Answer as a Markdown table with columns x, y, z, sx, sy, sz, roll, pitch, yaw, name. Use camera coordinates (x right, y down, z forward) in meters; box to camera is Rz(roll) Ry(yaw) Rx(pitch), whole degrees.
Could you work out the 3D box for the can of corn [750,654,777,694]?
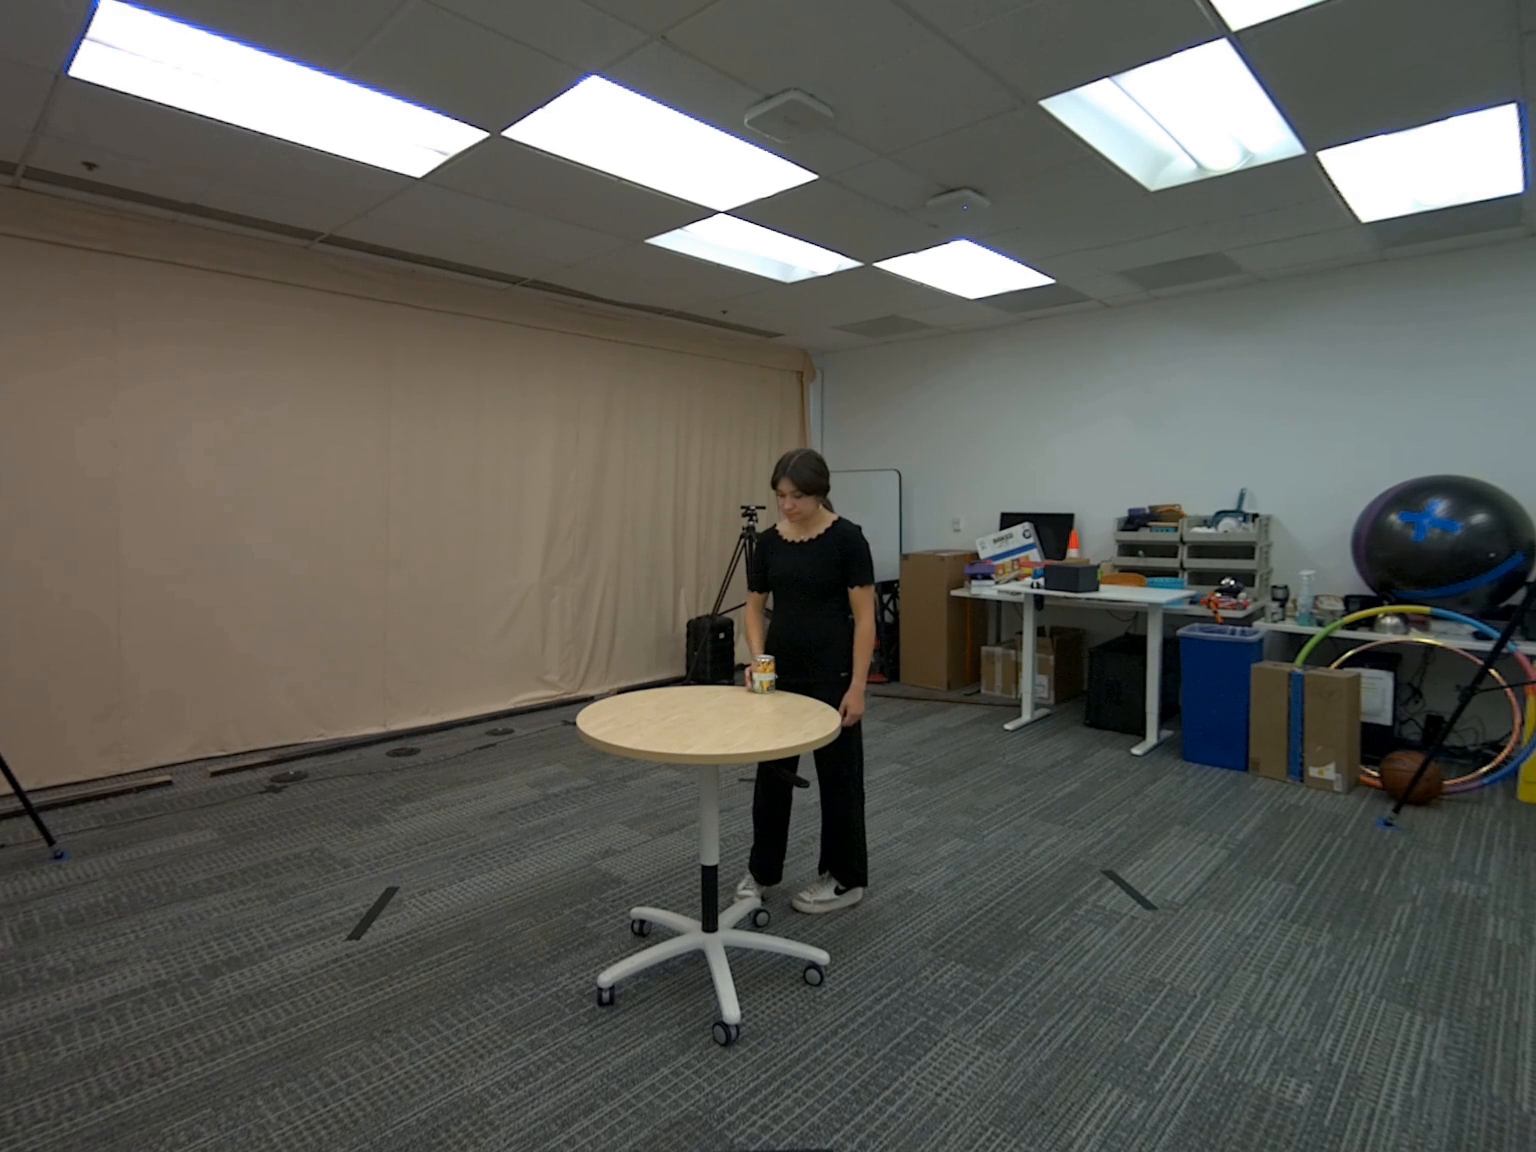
| x | y | z | sx | sy | sz | roll | pitch | yaw | name |
| --- | --- | --- | --- | --- | --- | --- | --- | --- | --- |
| -0.014 | 0.321 | 2.759 | 0.074 | 0.111 | 0.074 | 0 | 3 | -2 | can of corn |
